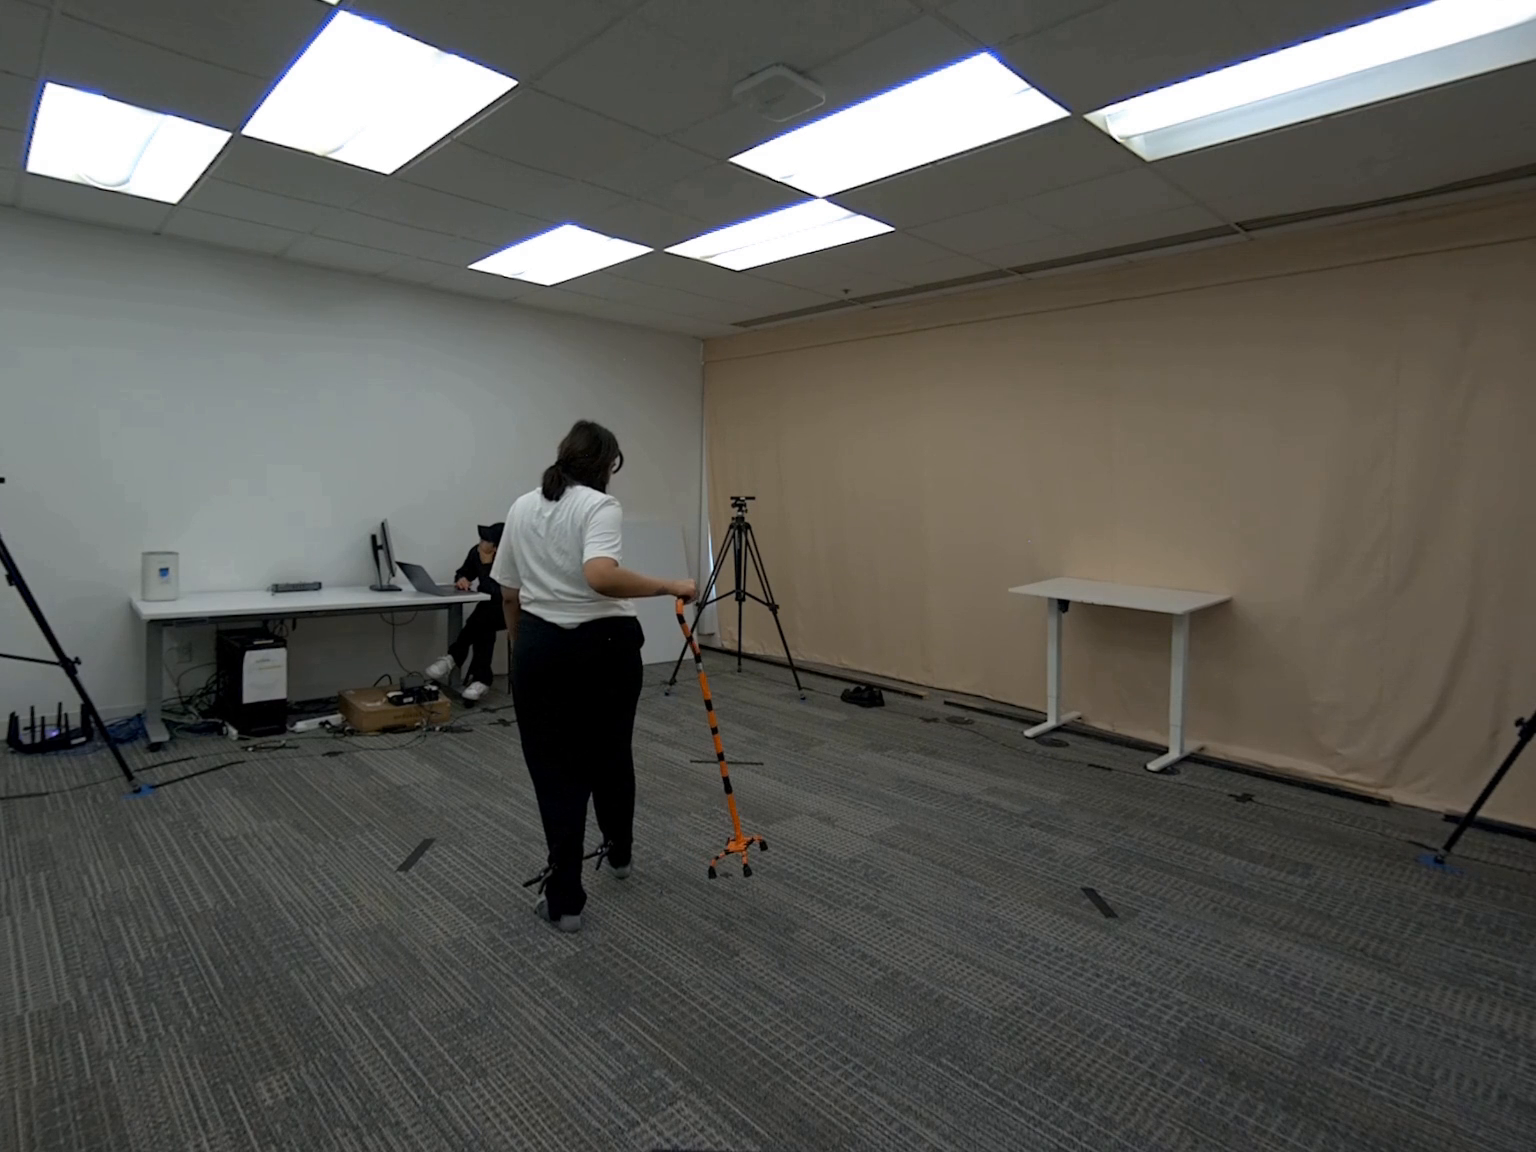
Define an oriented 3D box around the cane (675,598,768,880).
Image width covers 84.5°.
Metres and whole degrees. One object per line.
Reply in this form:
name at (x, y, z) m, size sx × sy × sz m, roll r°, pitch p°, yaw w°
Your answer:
cane at (-0.196, 0.512, 2.745) m, size 0.153 × 0.905 × 0.205 m, roll -10°, pitch 3°, yaw 17°
